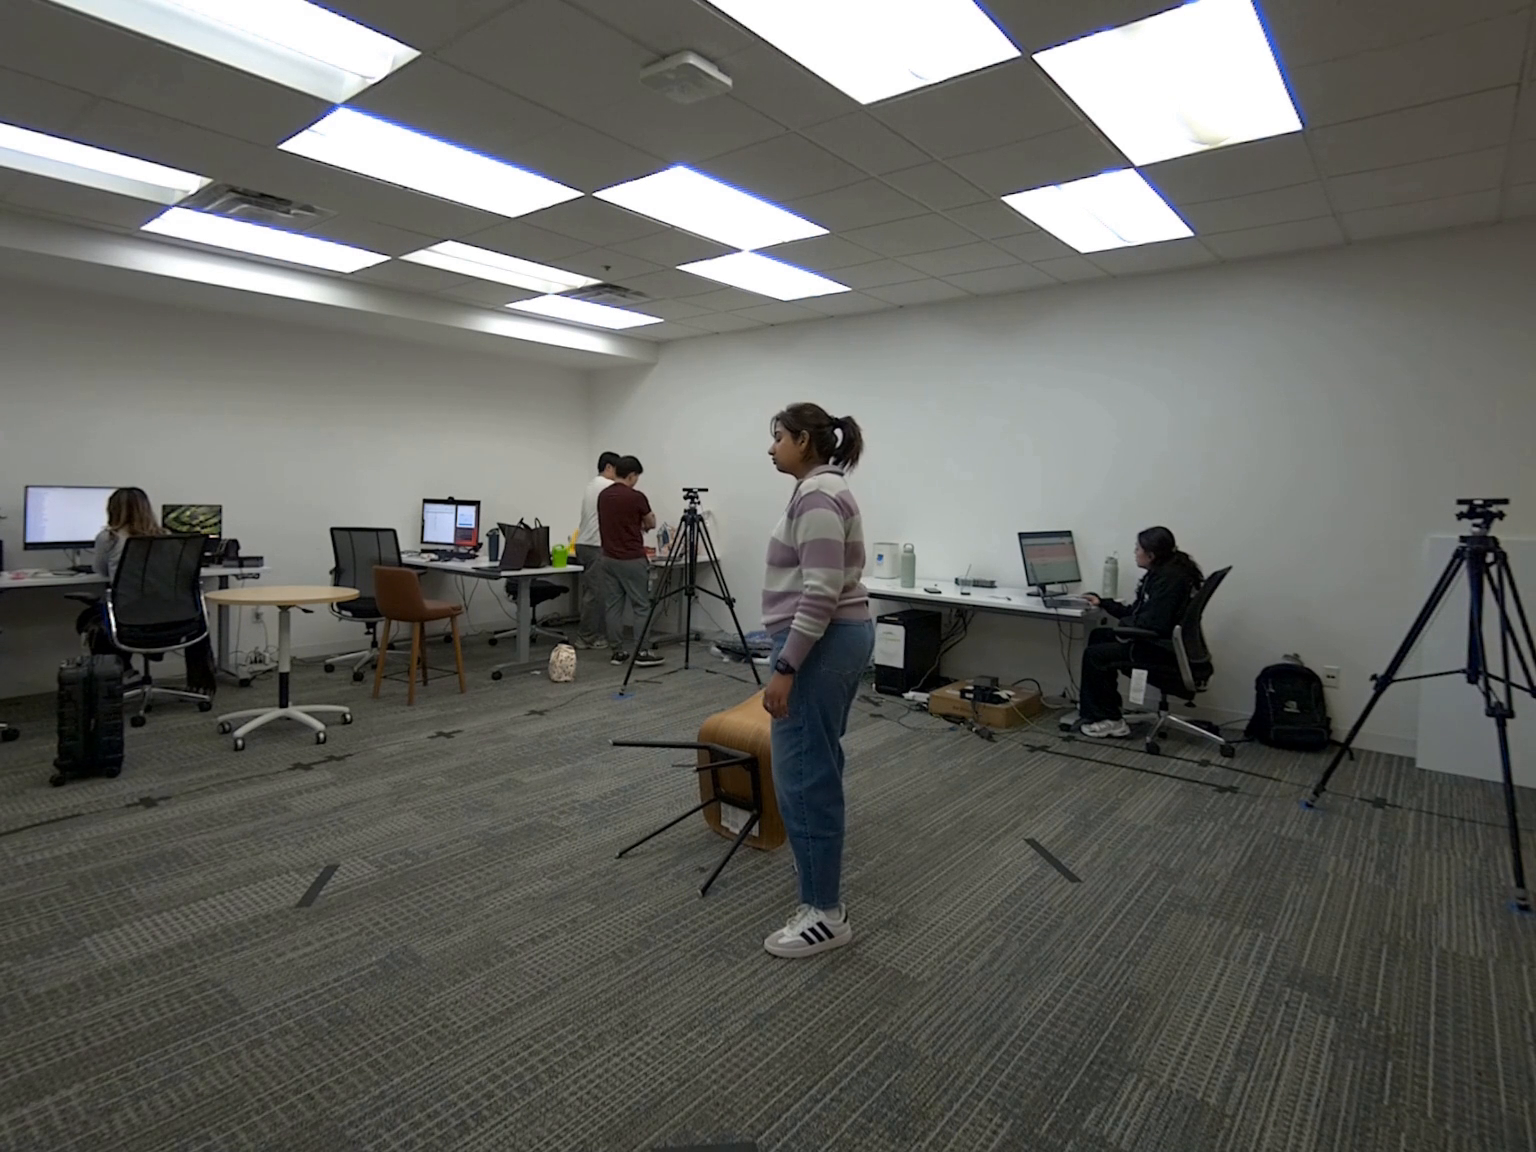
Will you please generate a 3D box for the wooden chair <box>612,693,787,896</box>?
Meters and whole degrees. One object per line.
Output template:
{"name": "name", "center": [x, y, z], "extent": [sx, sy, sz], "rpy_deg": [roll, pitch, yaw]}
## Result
{"name": "wooden chair", "center": [-0.147, 0.796, 3.328], "extent": [0.494, 0.518, 0.857], "rpy_deg": [3, 14, 41]}
